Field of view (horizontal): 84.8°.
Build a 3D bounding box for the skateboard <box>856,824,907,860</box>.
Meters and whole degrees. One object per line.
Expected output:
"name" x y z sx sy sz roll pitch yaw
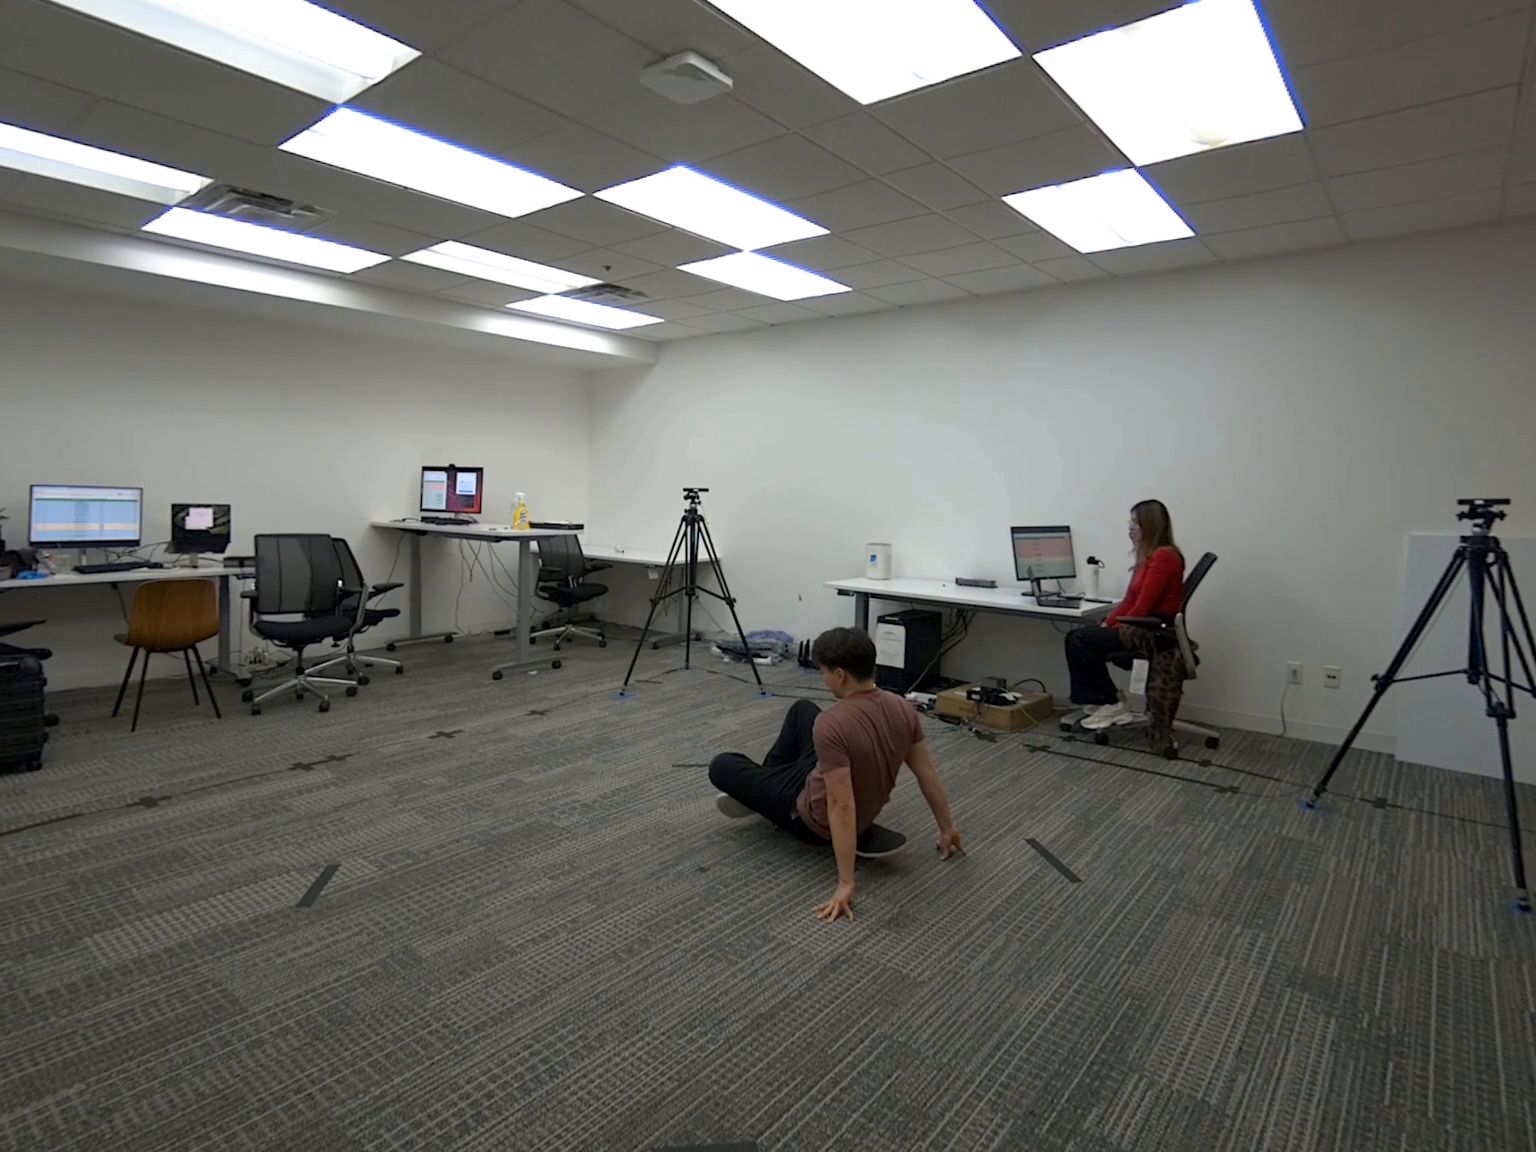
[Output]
"skateboard" 0.209 1.005 3.394 0.189 0.109 0.813 -19 18 -38
